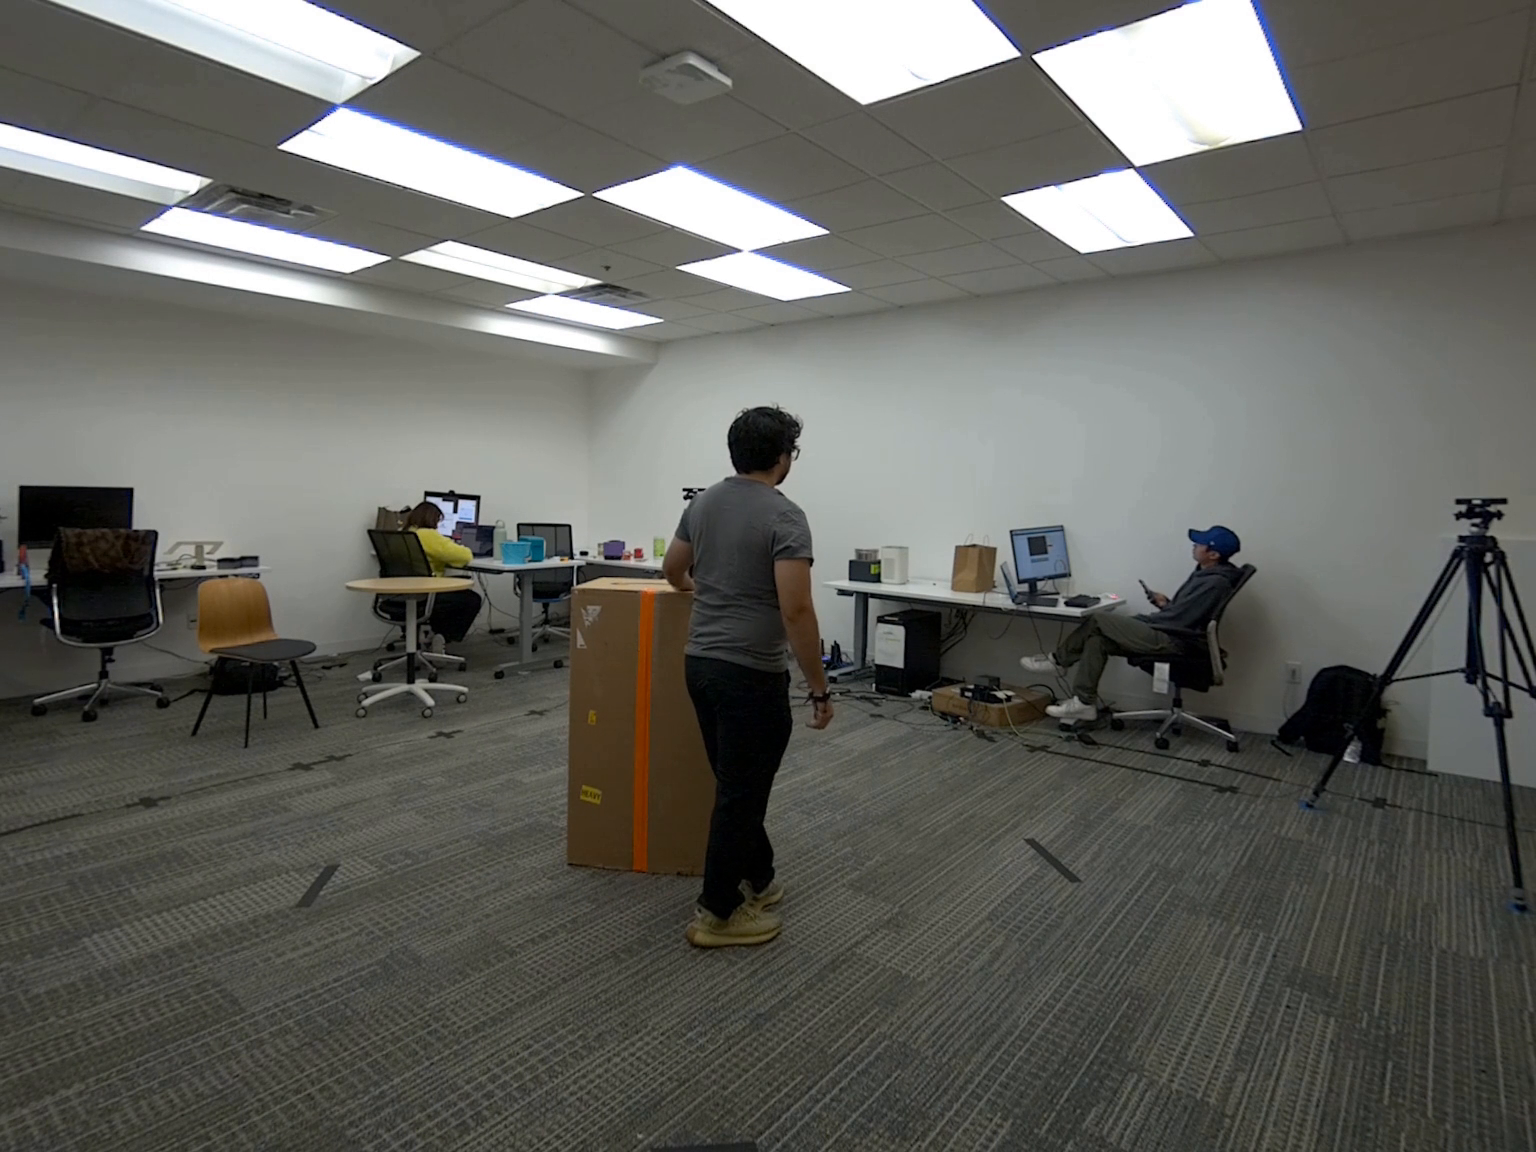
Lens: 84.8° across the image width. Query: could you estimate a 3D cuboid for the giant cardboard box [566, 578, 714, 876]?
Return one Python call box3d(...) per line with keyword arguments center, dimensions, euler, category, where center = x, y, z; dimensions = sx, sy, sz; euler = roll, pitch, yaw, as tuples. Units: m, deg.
box3d(center=(-0.439, 0.539, 3.261), dimensions=(0.583, 1.023, 0.423), euler=(2, 3, 7), category="giant cardboard box")
